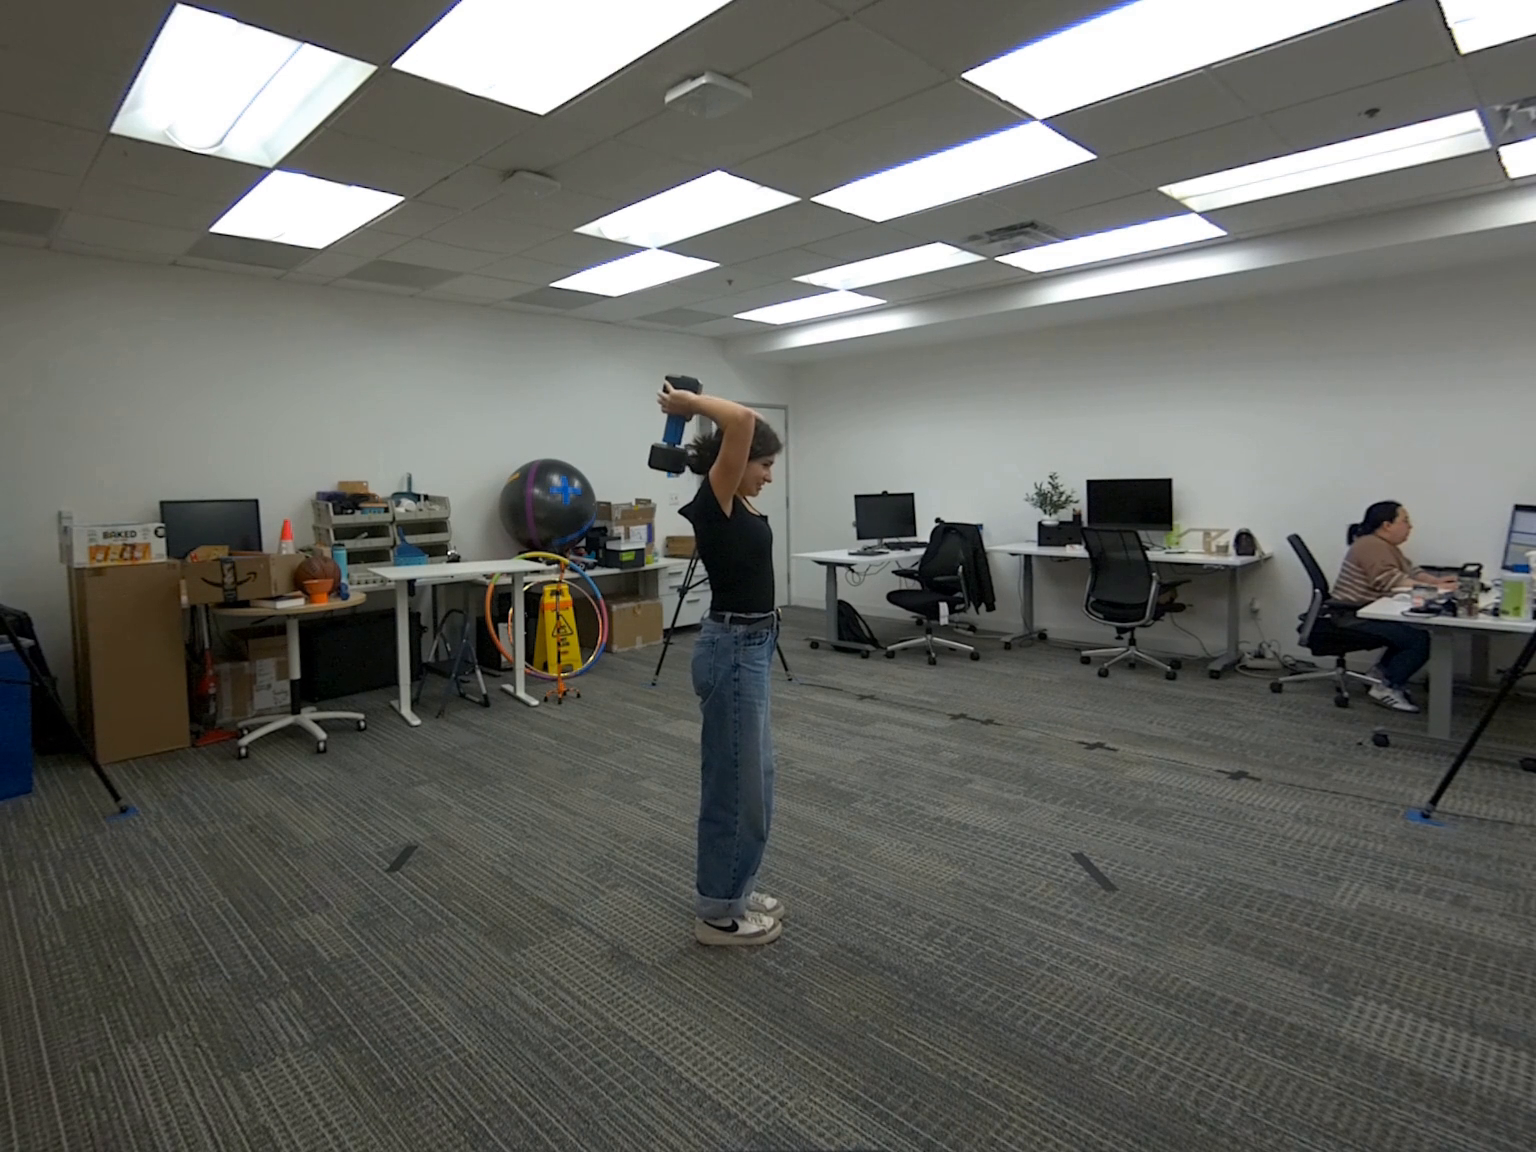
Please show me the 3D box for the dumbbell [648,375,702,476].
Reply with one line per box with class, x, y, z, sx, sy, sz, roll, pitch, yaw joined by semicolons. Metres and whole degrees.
dumbbell;-0.274;-0.462;2.588;0.127;0.292;0.105;17;8;41
